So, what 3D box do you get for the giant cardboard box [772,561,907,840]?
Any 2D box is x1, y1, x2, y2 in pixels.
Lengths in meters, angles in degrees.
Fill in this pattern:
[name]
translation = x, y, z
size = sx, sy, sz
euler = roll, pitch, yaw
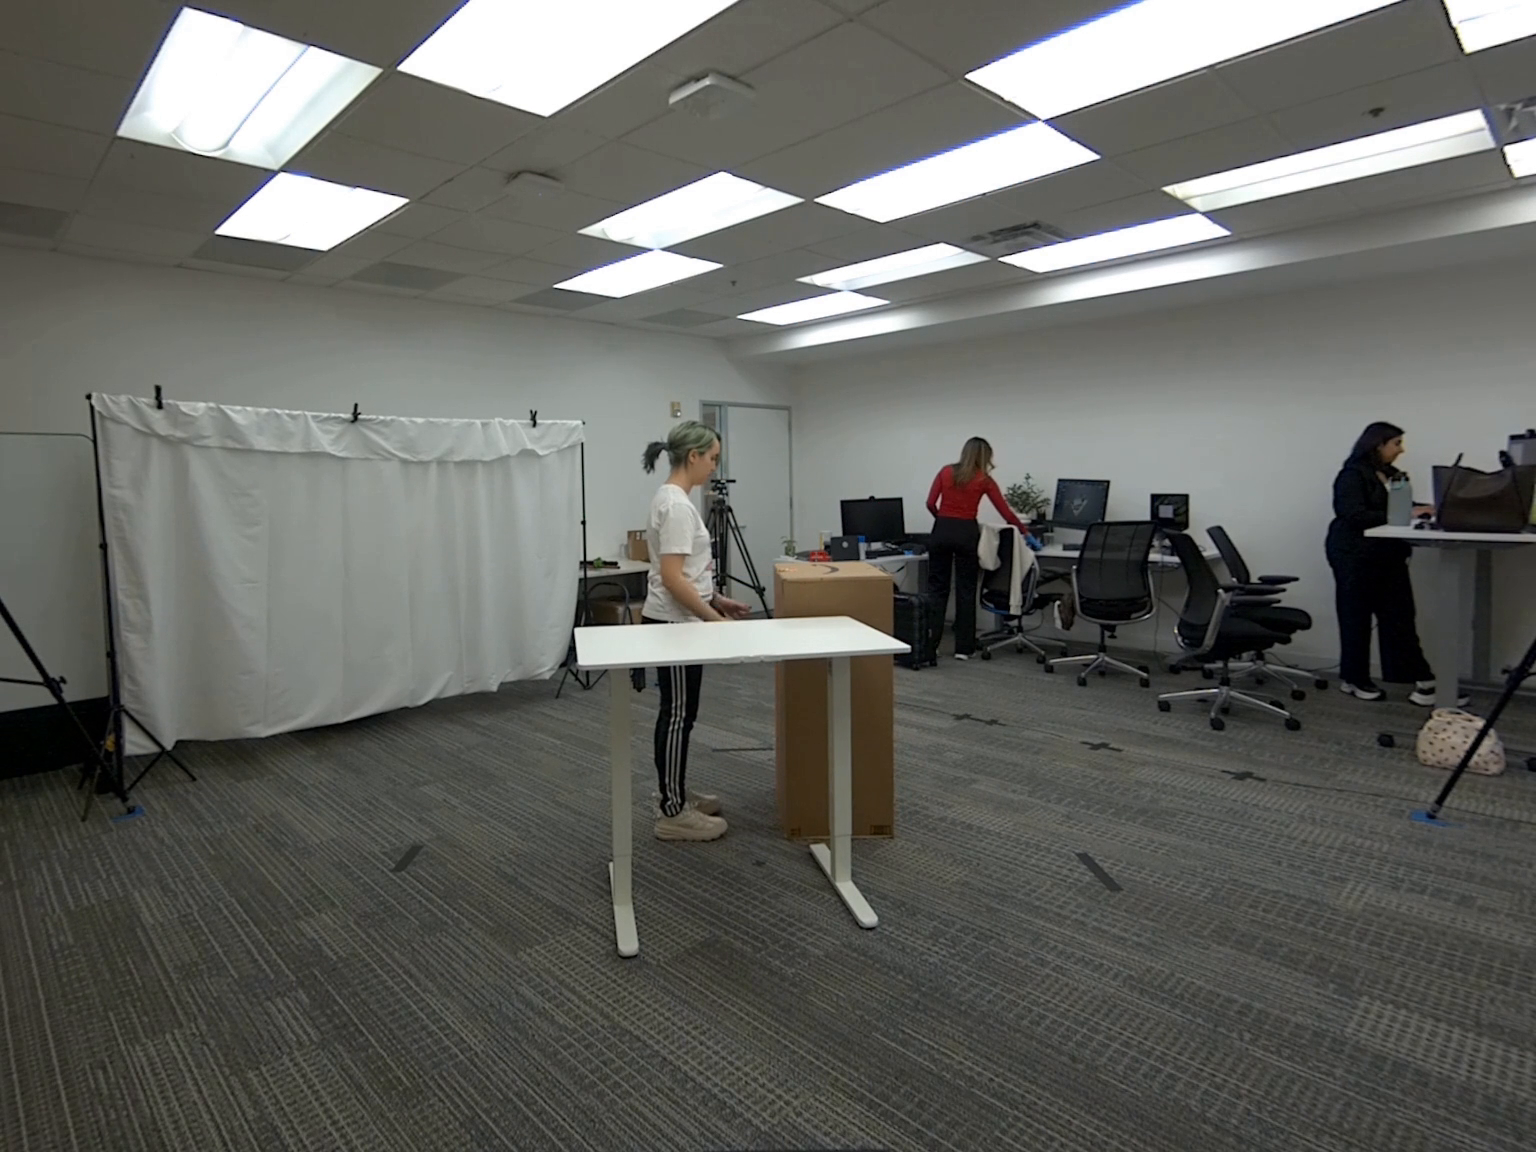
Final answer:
[giant cardboard box]
translation = 0.258, 0.485, 3.560
size = 0.446, 1.023, 0.587
euler = 0, 4, -3
